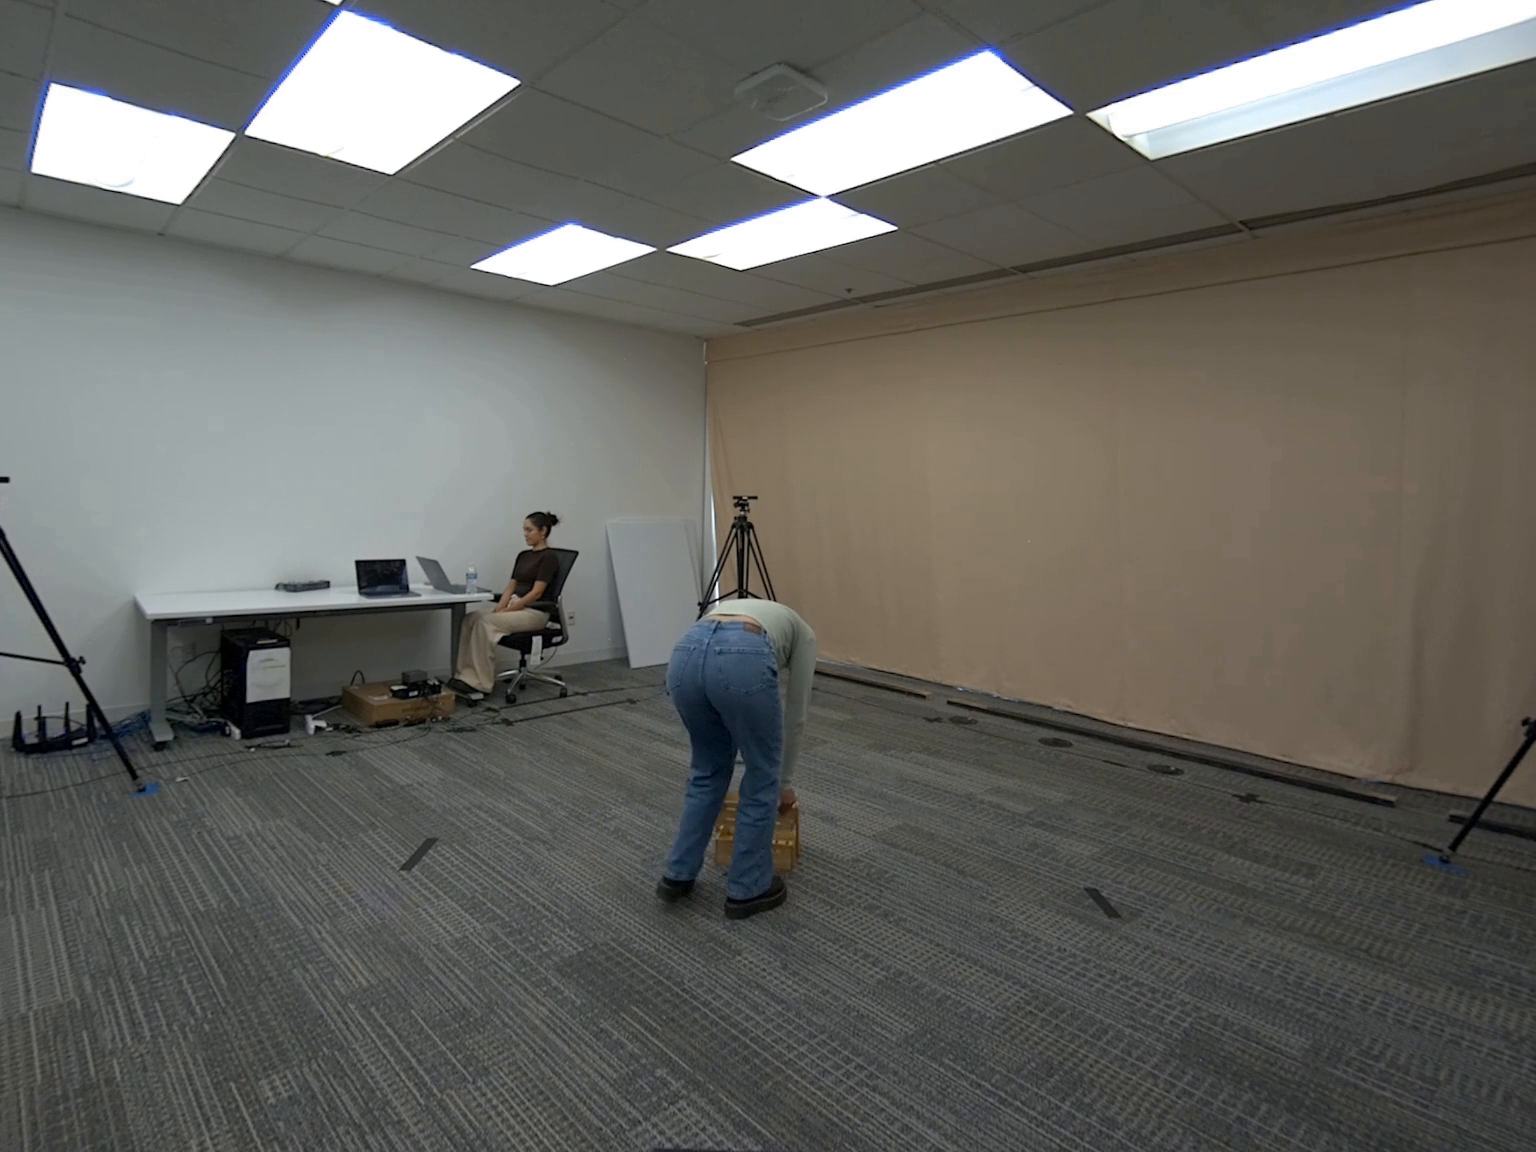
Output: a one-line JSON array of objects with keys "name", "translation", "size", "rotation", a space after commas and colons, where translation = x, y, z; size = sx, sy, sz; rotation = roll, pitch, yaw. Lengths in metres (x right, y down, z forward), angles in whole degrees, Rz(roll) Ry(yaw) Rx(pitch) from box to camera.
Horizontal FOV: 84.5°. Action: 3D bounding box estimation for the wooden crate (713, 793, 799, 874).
[{"name": "wooden crate", "translation": [-0.046, 0.959, 3.266], "size": [0.327, 0.272, 0.301], "rotation": [2, 5, 8]}]
